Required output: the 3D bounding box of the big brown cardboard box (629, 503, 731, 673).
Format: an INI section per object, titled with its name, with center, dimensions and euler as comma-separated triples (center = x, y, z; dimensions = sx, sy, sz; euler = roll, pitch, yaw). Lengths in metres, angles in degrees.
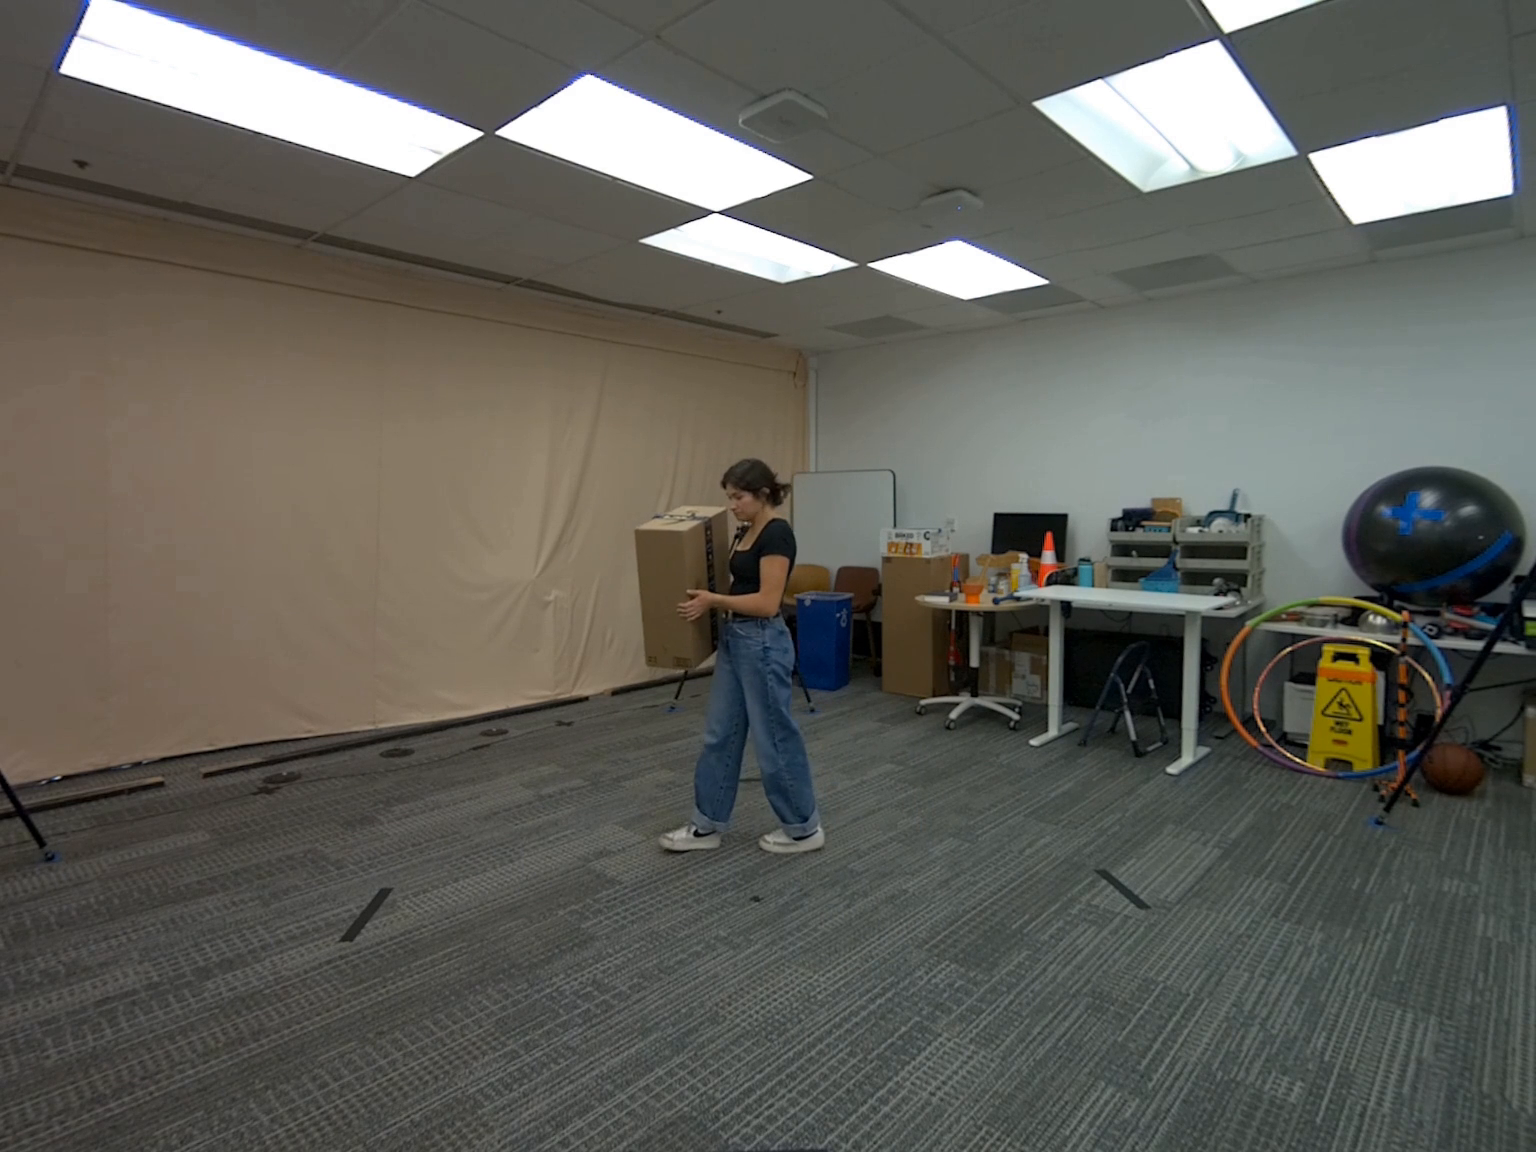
[big brown cardboard box]
center = -0.335, 0.029, 3.448
dimensions = 0.238, 0.584, 0.412
euler = 2, 14, 21
